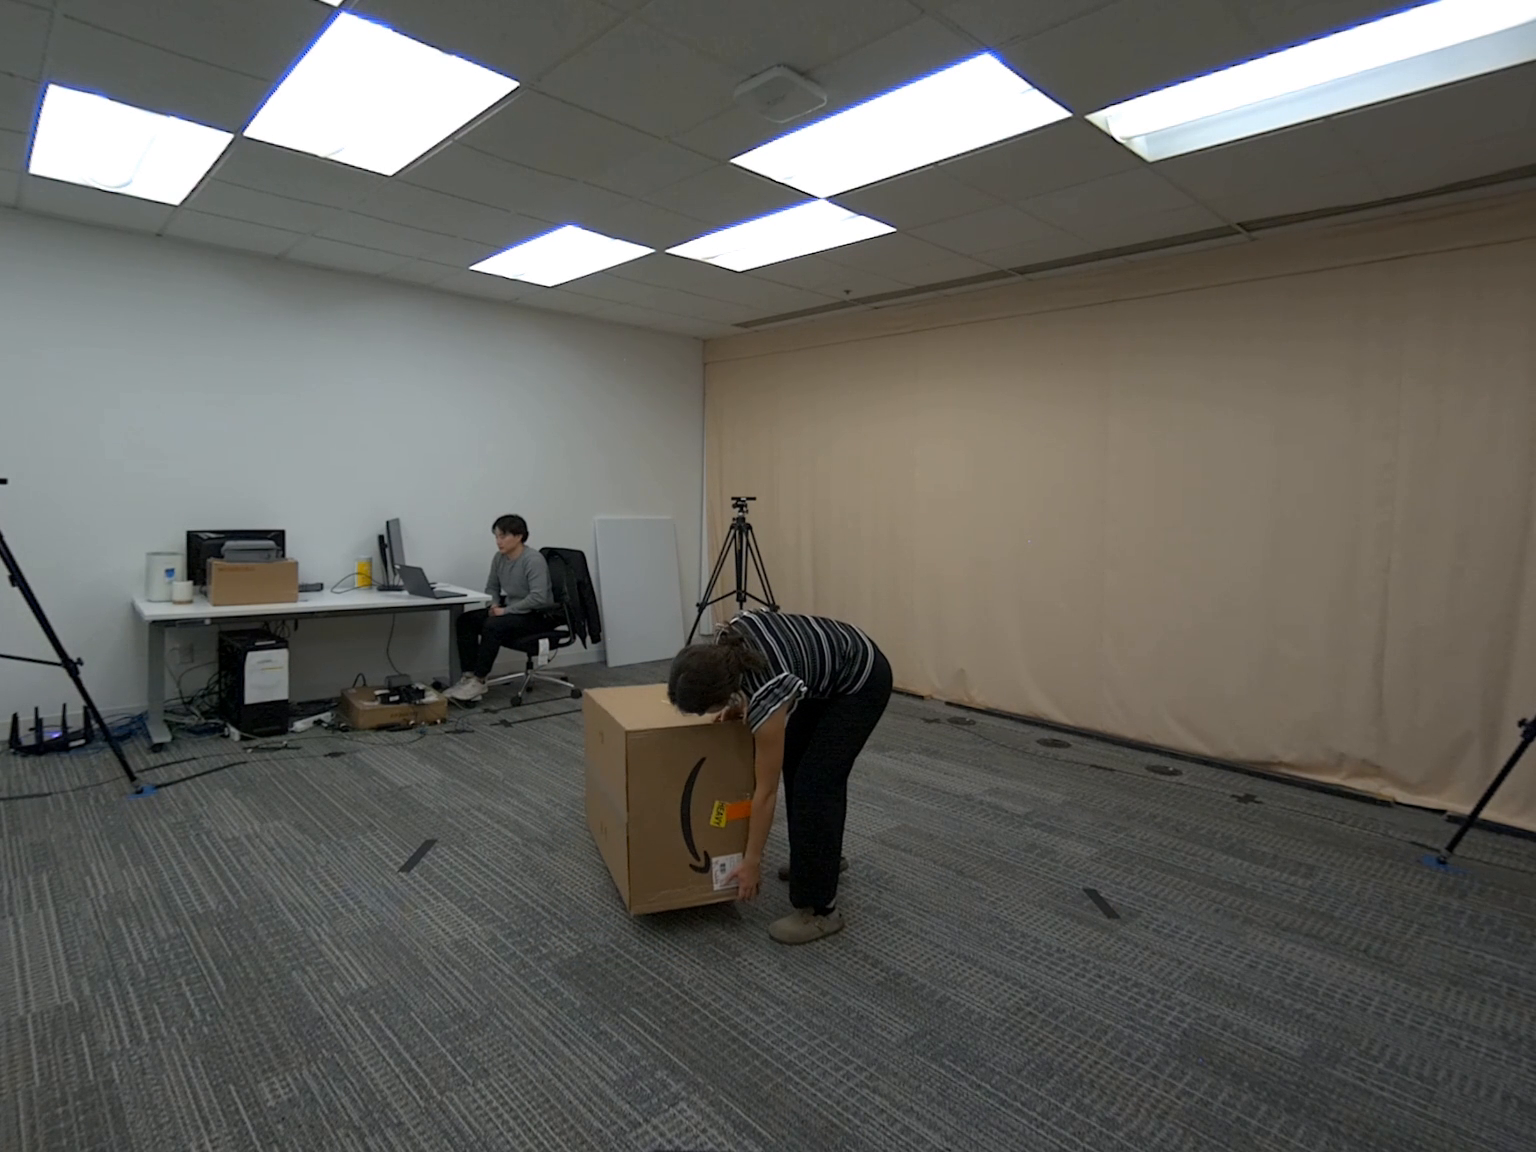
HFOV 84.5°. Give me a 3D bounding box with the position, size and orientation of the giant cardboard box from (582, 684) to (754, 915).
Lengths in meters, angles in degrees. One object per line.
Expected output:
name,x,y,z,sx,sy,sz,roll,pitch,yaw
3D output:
giant cardboard box,-0.424,0.760,3.154,0.420,0.578,1.039,-1,1,-18
